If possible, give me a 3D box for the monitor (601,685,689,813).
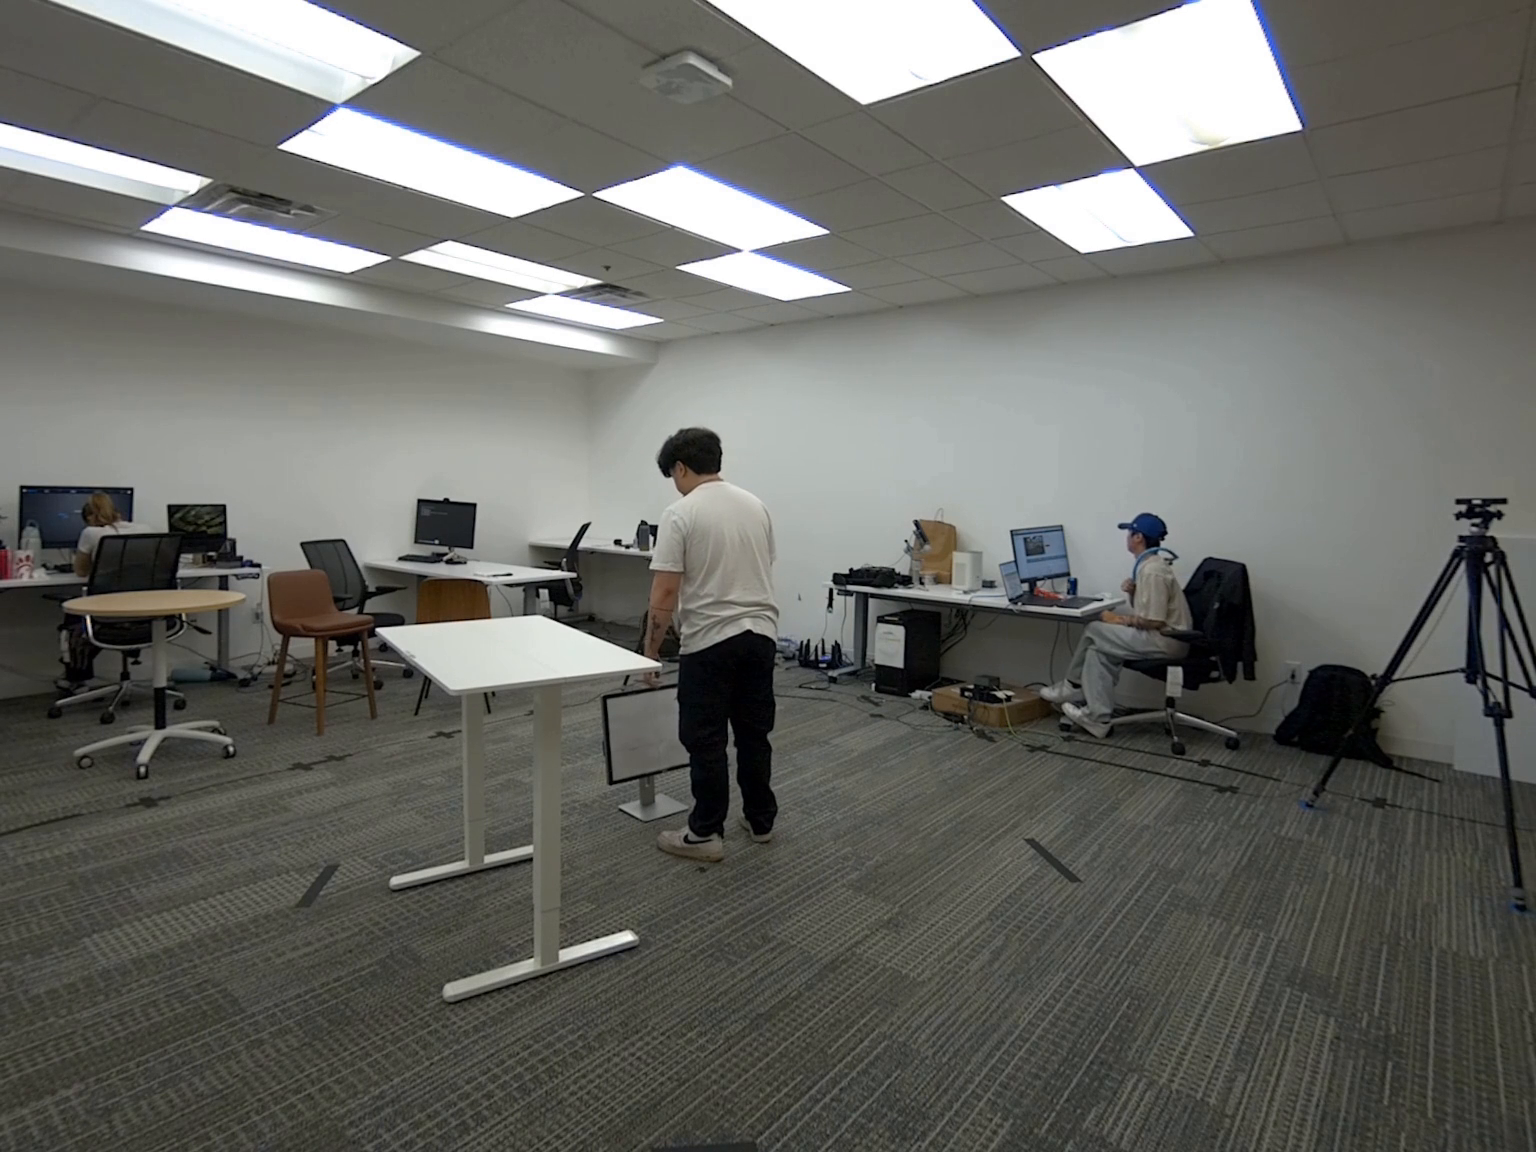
[{"bbox_3d":[-0.525,0.745,3.697,0.548,0.554,0.216,-3,0,-43],"label":"monitor"}]
